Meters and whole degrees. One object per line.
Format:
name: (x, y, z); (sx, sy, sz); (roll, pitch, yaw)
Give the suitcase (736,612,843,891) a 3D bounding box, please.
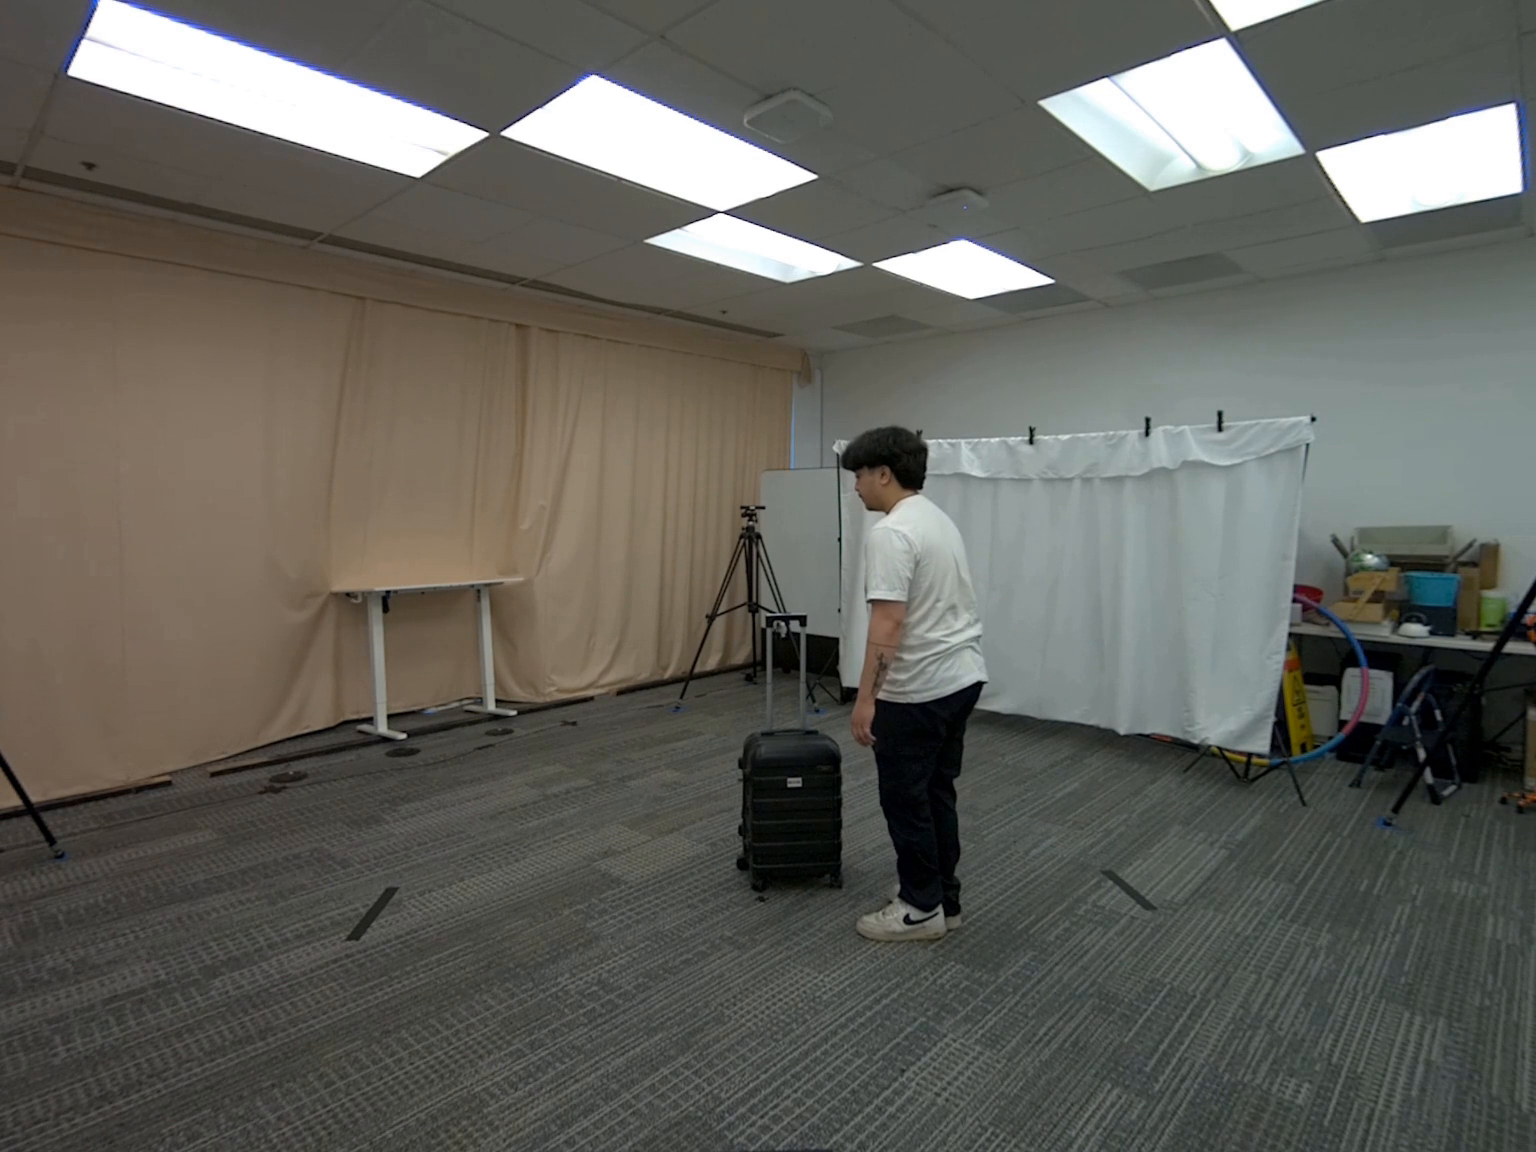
suitcase: (0.090, 0.658, 3.111); (0.381, 0.975, 0.260); (-1, 6, -7)
